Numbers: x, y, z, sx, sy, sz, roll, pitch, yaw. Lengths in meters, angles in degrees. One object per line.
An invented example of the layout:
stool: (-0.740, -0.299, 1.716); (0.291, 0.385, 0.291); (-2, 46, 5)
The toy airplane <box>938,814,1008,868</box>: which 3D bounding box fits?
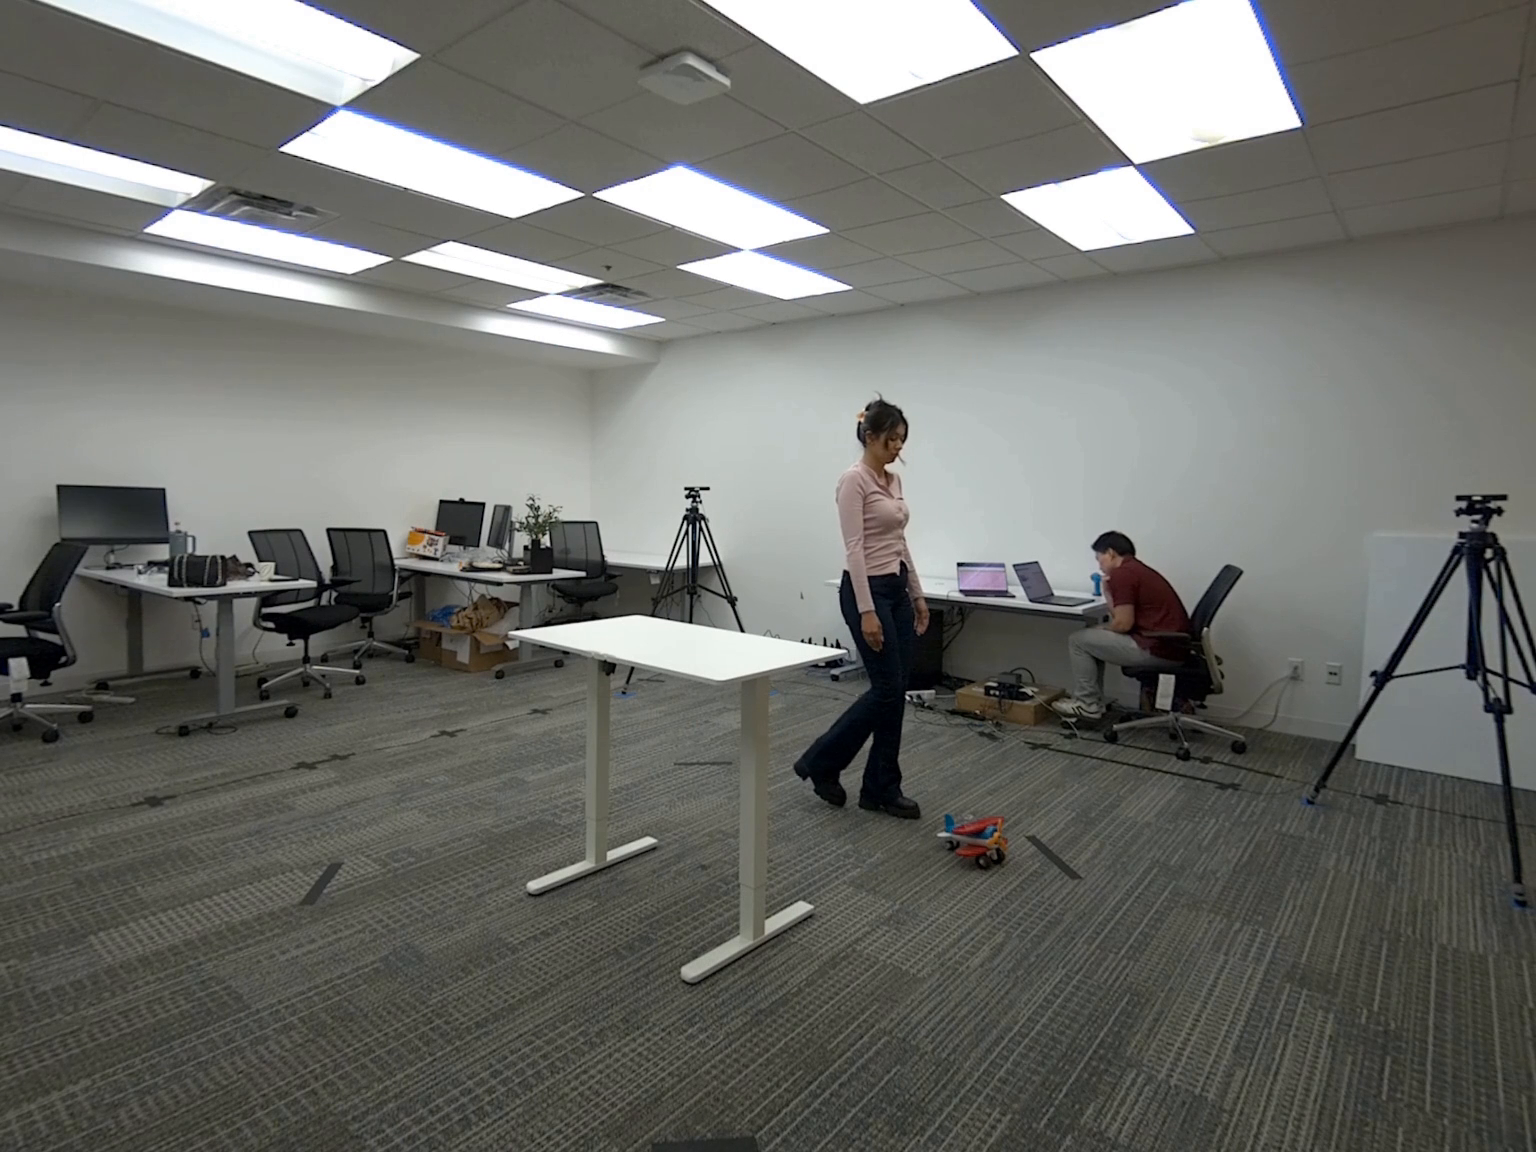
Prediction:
toy airplane: (0.770, 1.001, 3.240); (0.266, 0.156, 0.246); (4, 7, 24)
